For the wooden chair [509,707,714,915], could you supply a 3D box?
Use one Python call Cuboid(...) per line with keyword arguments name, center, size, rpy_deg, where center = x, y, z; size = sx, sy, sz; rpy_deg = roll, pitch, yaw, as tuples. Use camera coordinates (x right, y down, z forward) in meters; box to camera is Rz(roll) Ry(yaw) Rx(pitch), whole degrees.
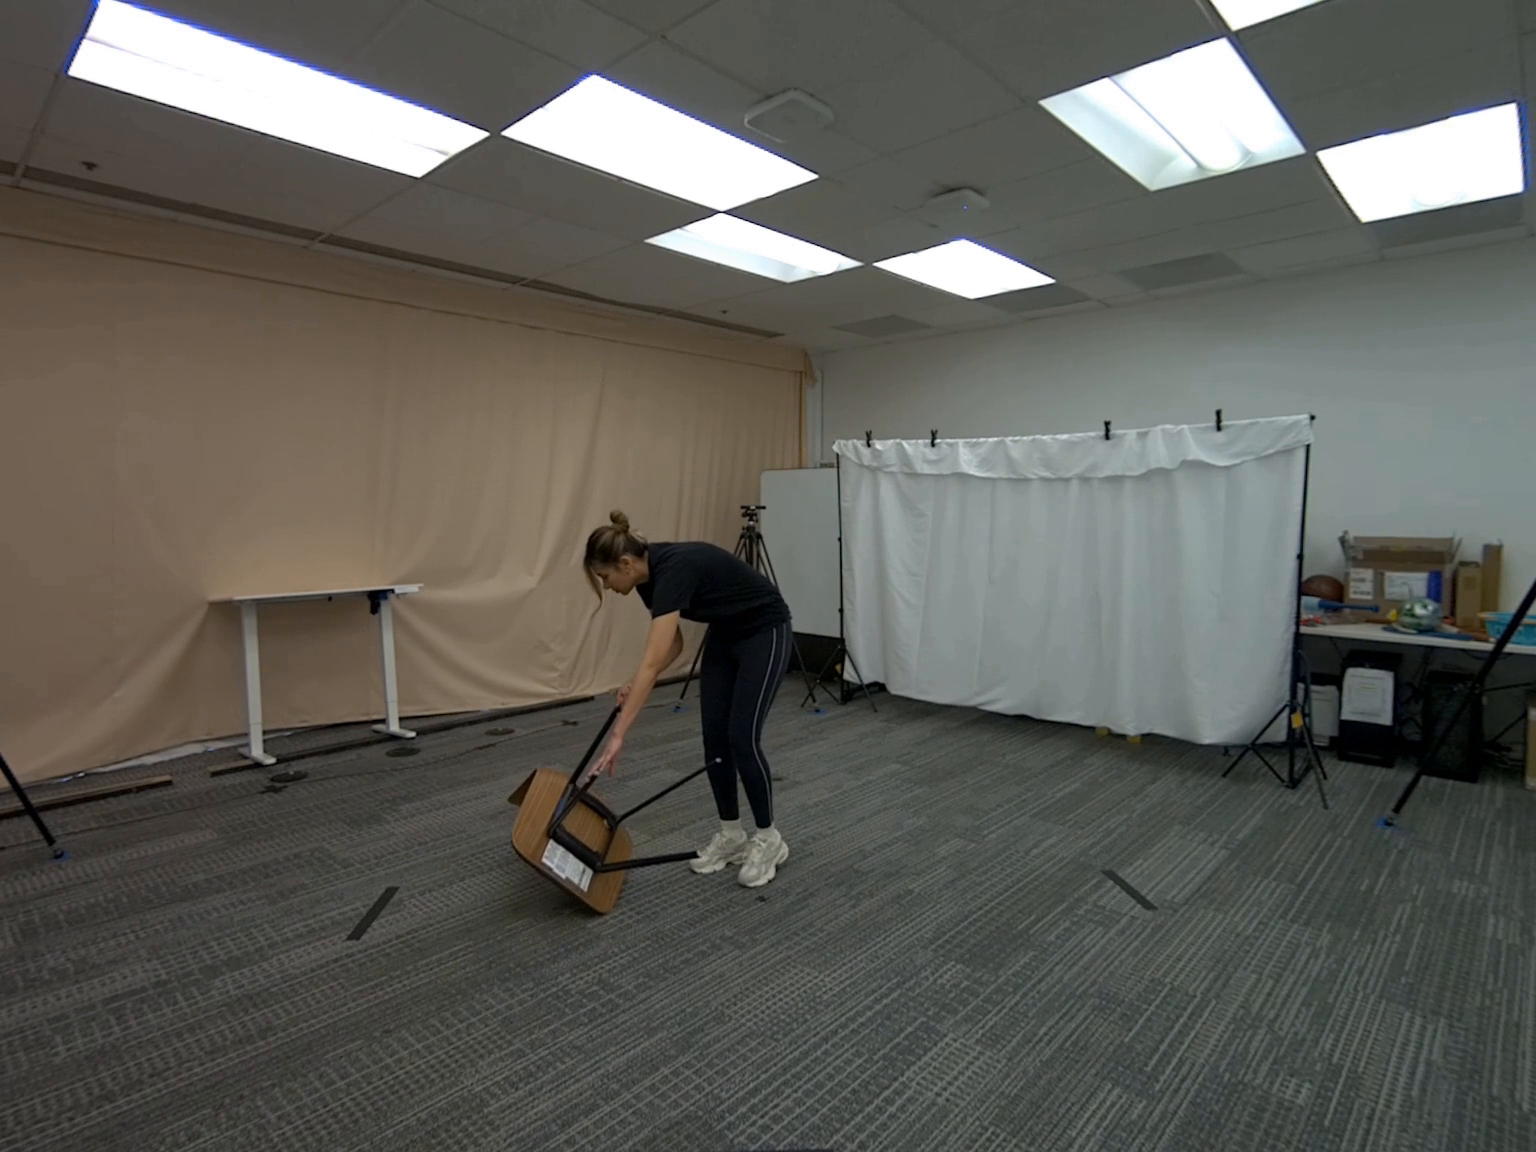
Cuboid(name="wooden chair", center=(-0.656, 0.895, 3.012), size=(0.887, 0.469, 0.527), rpy_deg=(-38, 19, 28))
